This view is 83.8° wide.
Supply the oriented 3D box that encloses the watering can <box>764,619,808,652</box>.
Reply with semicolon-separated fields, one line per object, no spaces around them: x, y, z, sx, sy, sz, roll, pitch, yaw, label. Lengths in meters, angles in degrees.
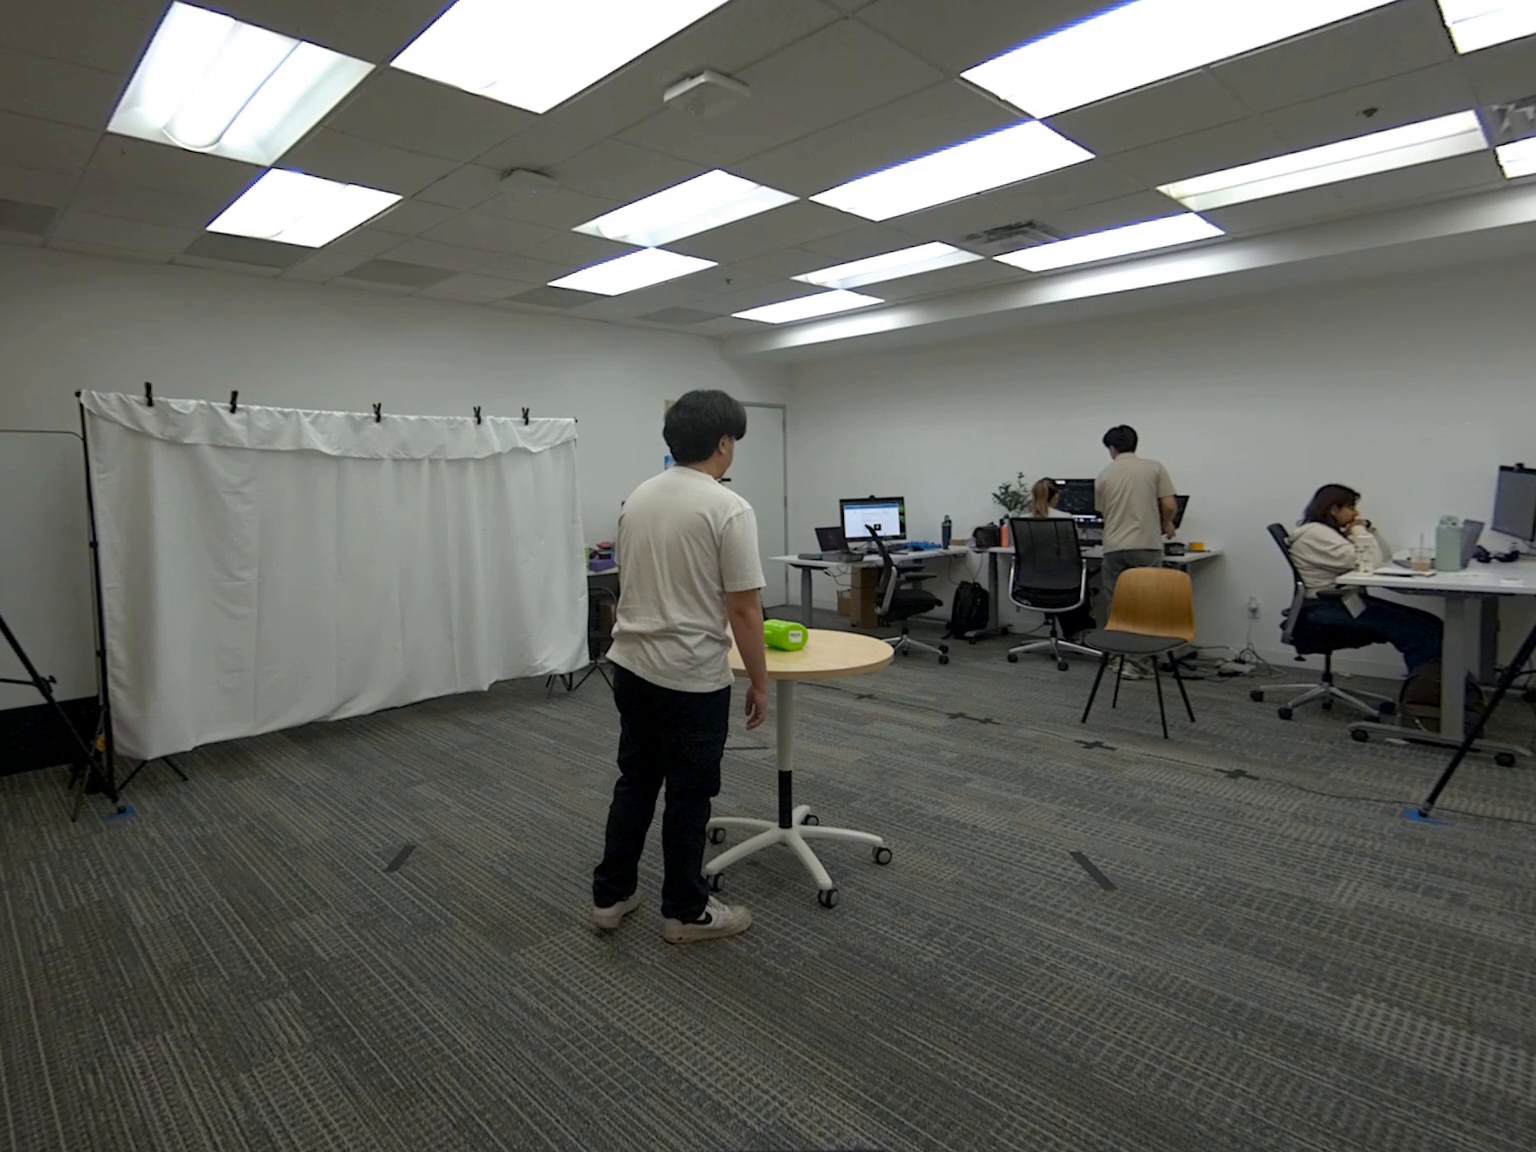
0.072;0.199;3.069;0.272;0.097;0.182;-12;12;-39;watering can
